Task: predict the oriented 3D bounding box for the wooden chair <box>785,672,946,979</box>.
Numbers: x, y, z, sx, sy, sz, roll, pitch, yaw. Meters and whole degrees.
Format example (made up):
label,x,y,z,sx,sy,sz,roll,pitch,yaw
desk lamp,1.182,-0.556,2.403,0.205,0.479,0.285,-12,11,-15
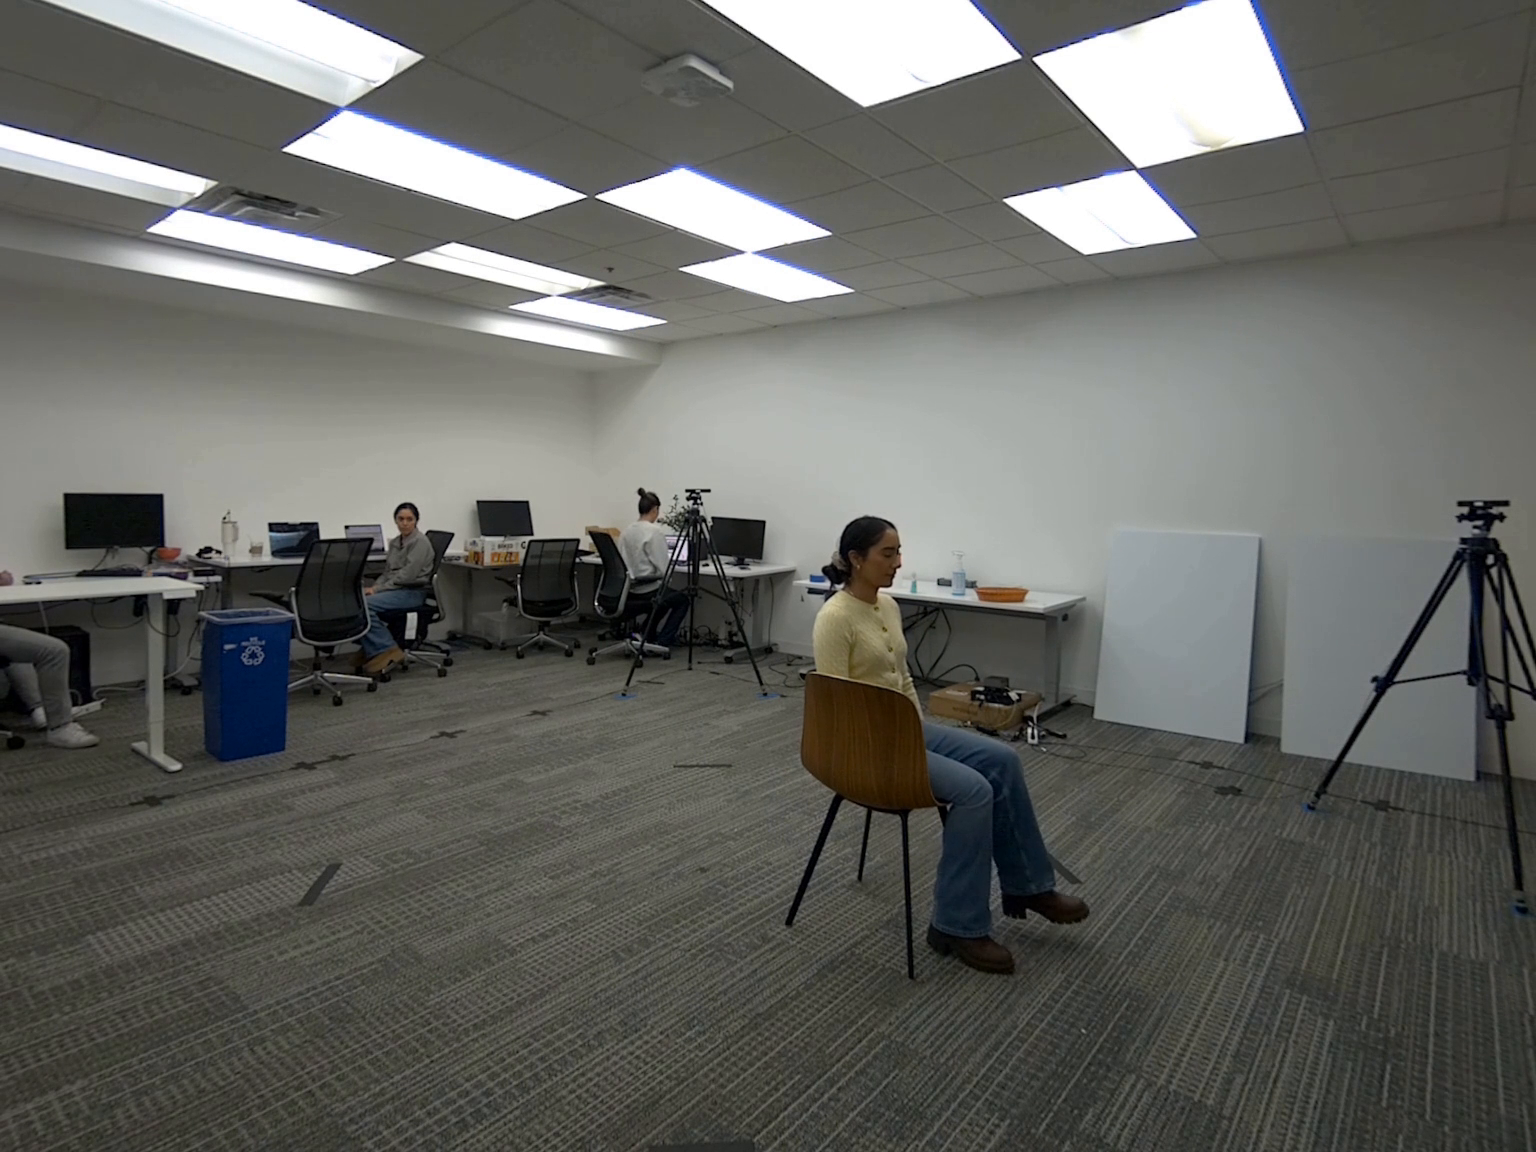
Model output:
label,x,y,z,sx,sy,sz,roll,pitch,yaw
wooden chair,0.375,0.697,2.735,0.494,0.872,0.509,5,9,39
